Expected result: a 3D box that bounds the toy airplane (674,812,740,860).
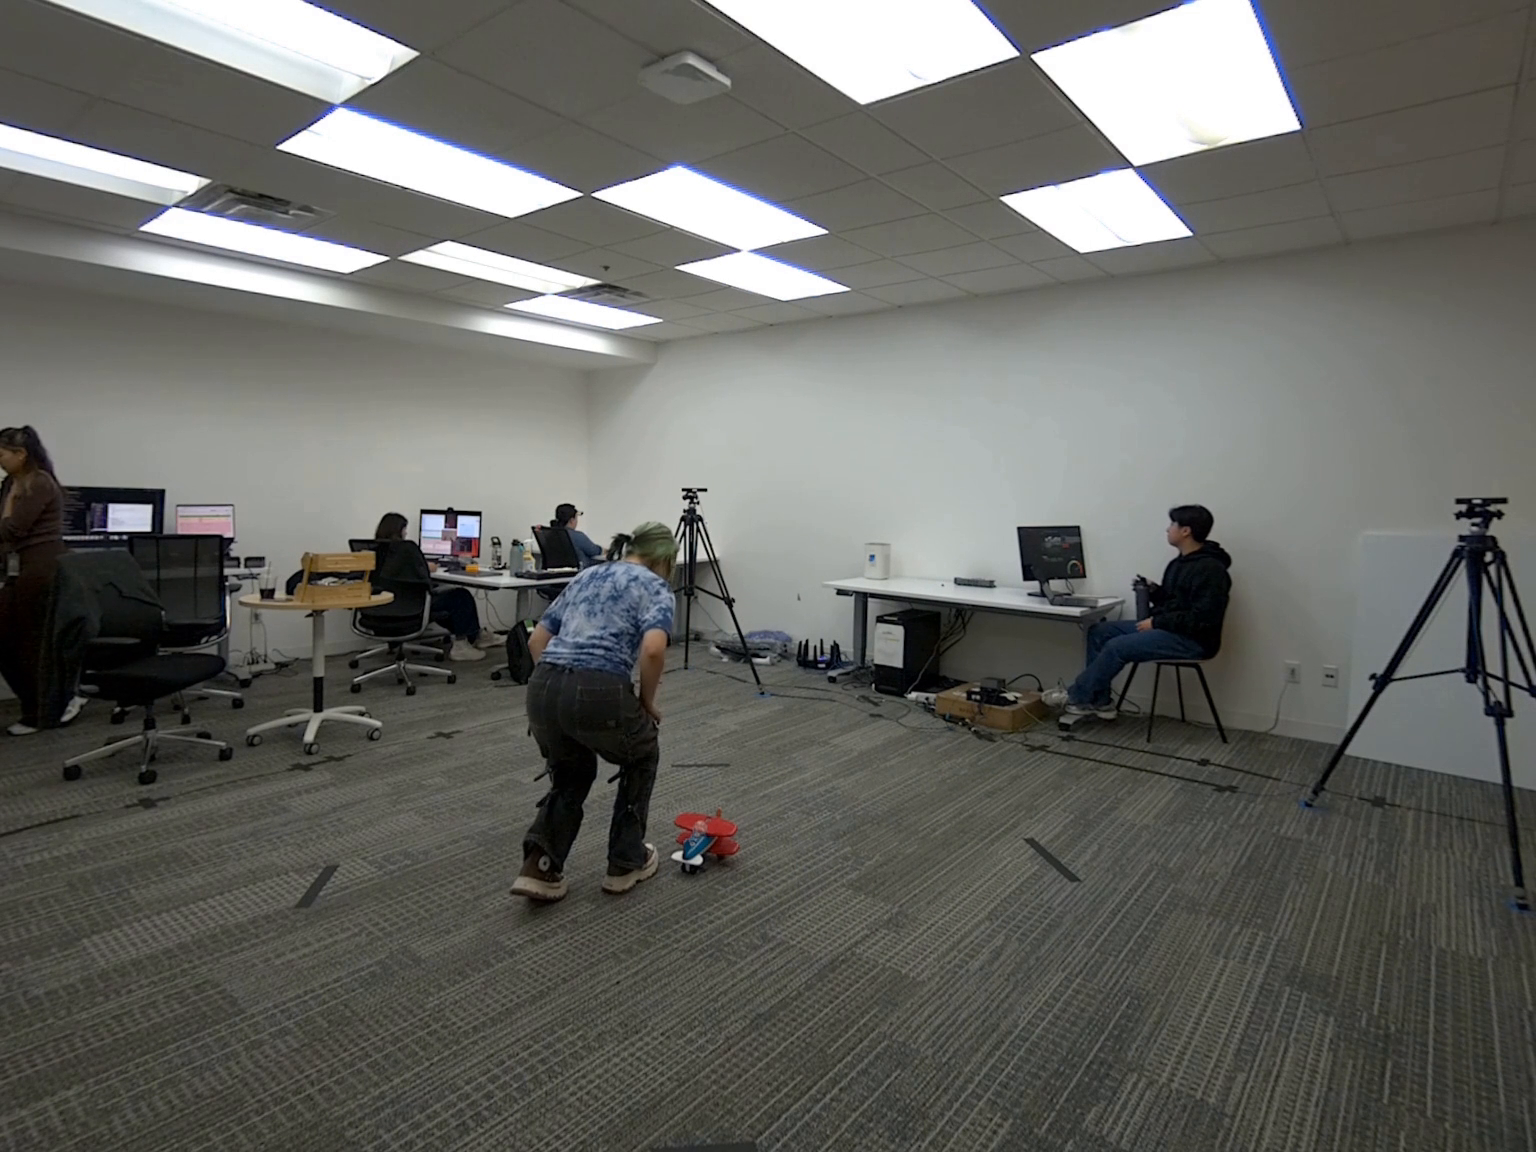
[{"bbox_3d":[-0.238,0.993,3.147,0.251,0.156,0.260,1,4,-1],"label":"toy airplane"}]
